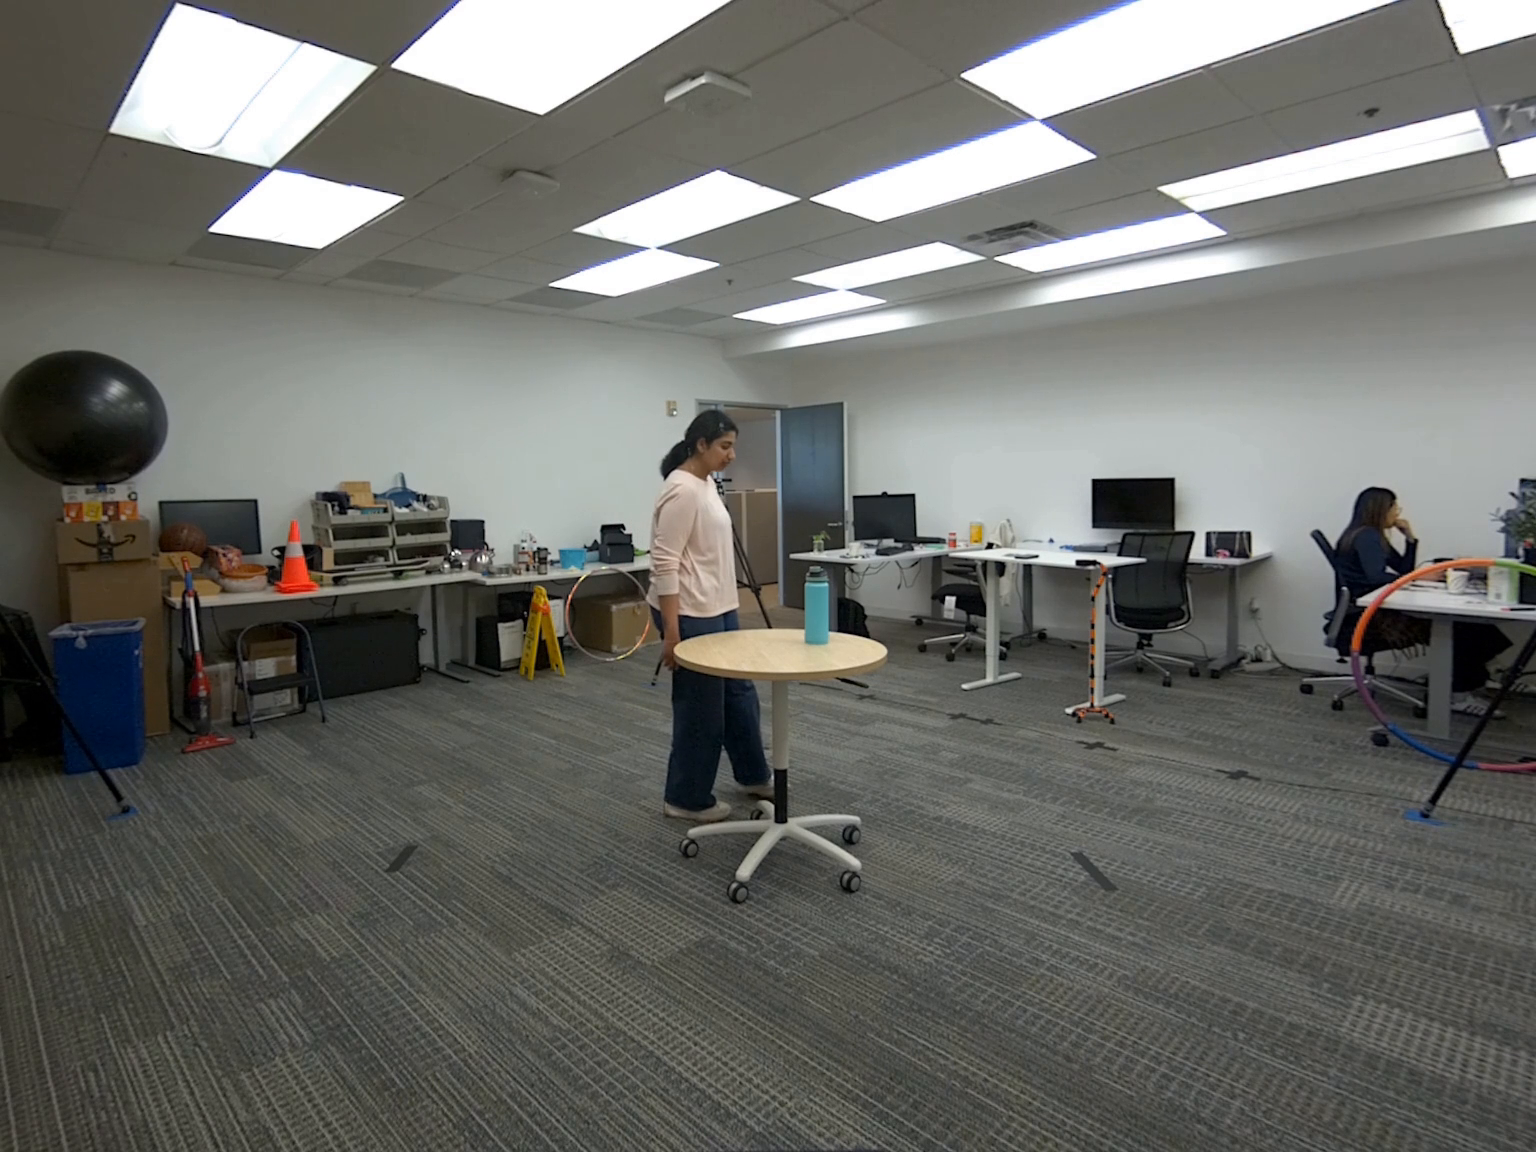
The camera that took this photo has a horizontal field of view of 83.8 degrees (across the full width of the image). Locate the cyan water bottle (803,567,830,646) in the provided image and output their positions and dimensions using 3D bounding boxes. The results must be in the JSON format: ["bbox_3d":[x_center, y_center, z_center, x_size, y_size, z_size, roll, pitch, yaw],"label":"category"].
[{"bbox_3d":[0.194,0.110,3.181,0.092,0.282,0.093,1,4,-2],"label":"cyan water bottle"}]
